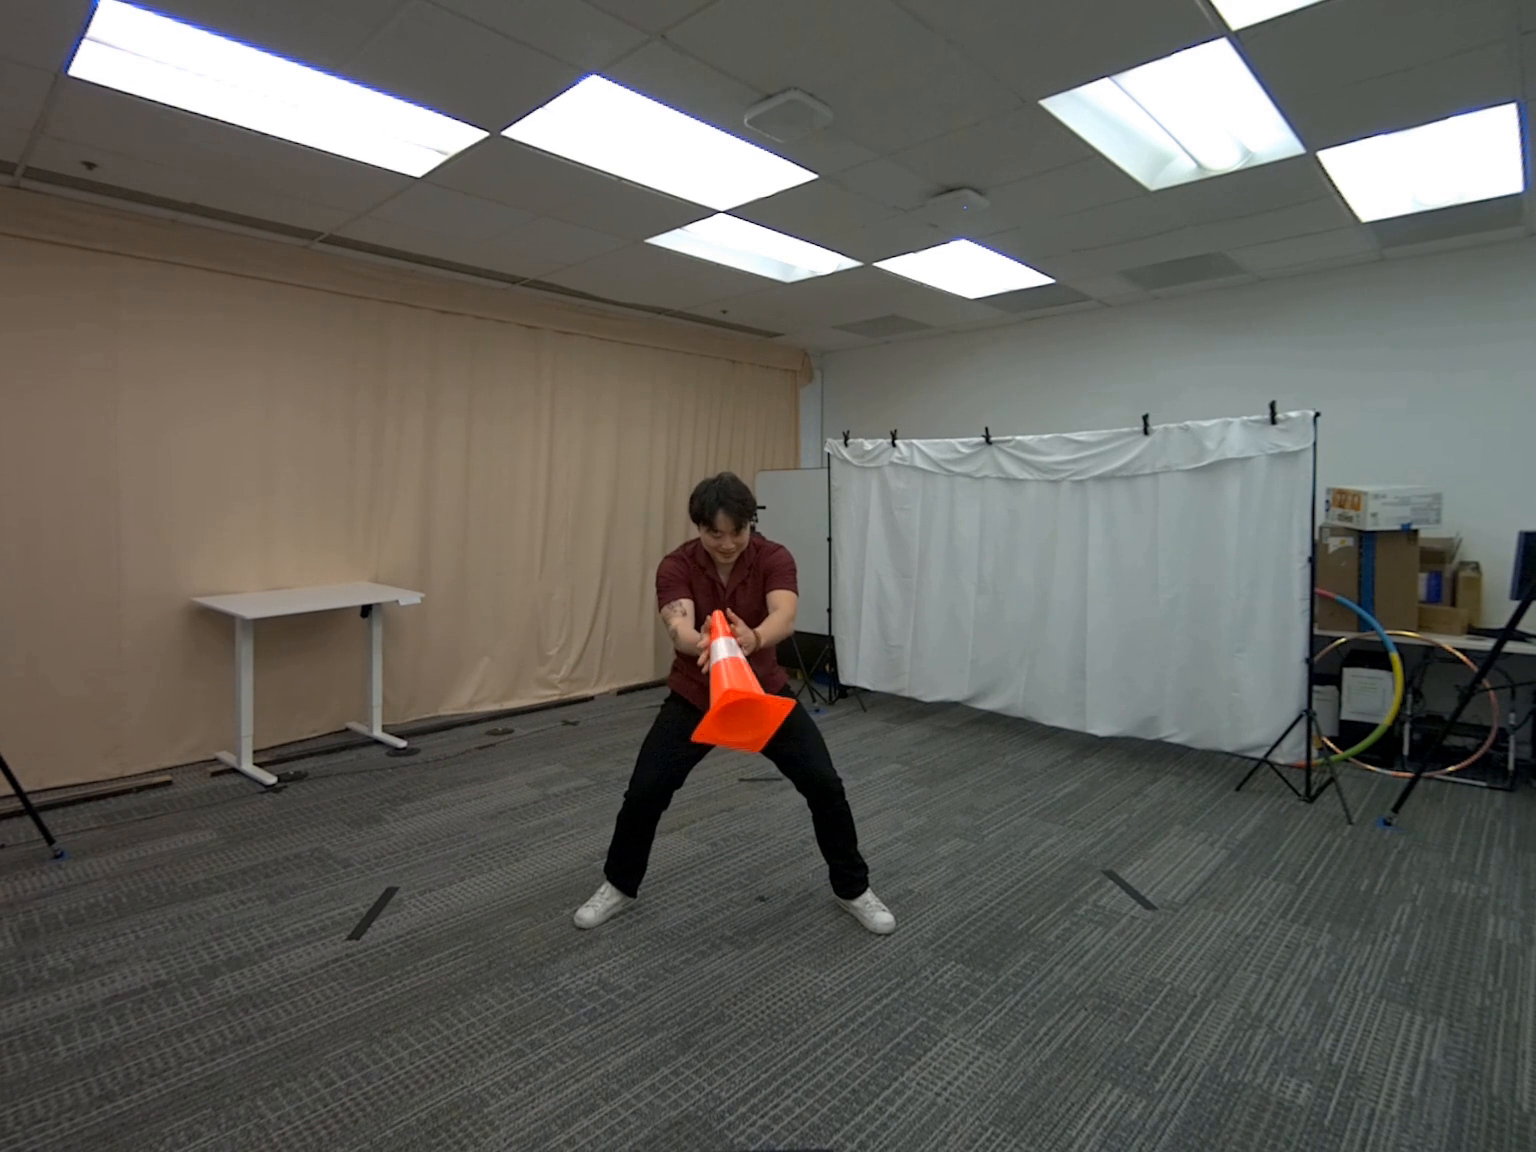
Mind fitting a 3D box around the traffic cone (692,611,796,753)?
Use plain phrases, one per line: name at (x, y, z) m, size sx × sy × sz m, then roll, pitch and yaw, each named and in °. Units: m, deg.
traffic cone at (-0.121, 0.222, 2.190) m, size 0.198 × 0.205 × 0.393 m, roll 16°, pitch 33°, yaw -22°
